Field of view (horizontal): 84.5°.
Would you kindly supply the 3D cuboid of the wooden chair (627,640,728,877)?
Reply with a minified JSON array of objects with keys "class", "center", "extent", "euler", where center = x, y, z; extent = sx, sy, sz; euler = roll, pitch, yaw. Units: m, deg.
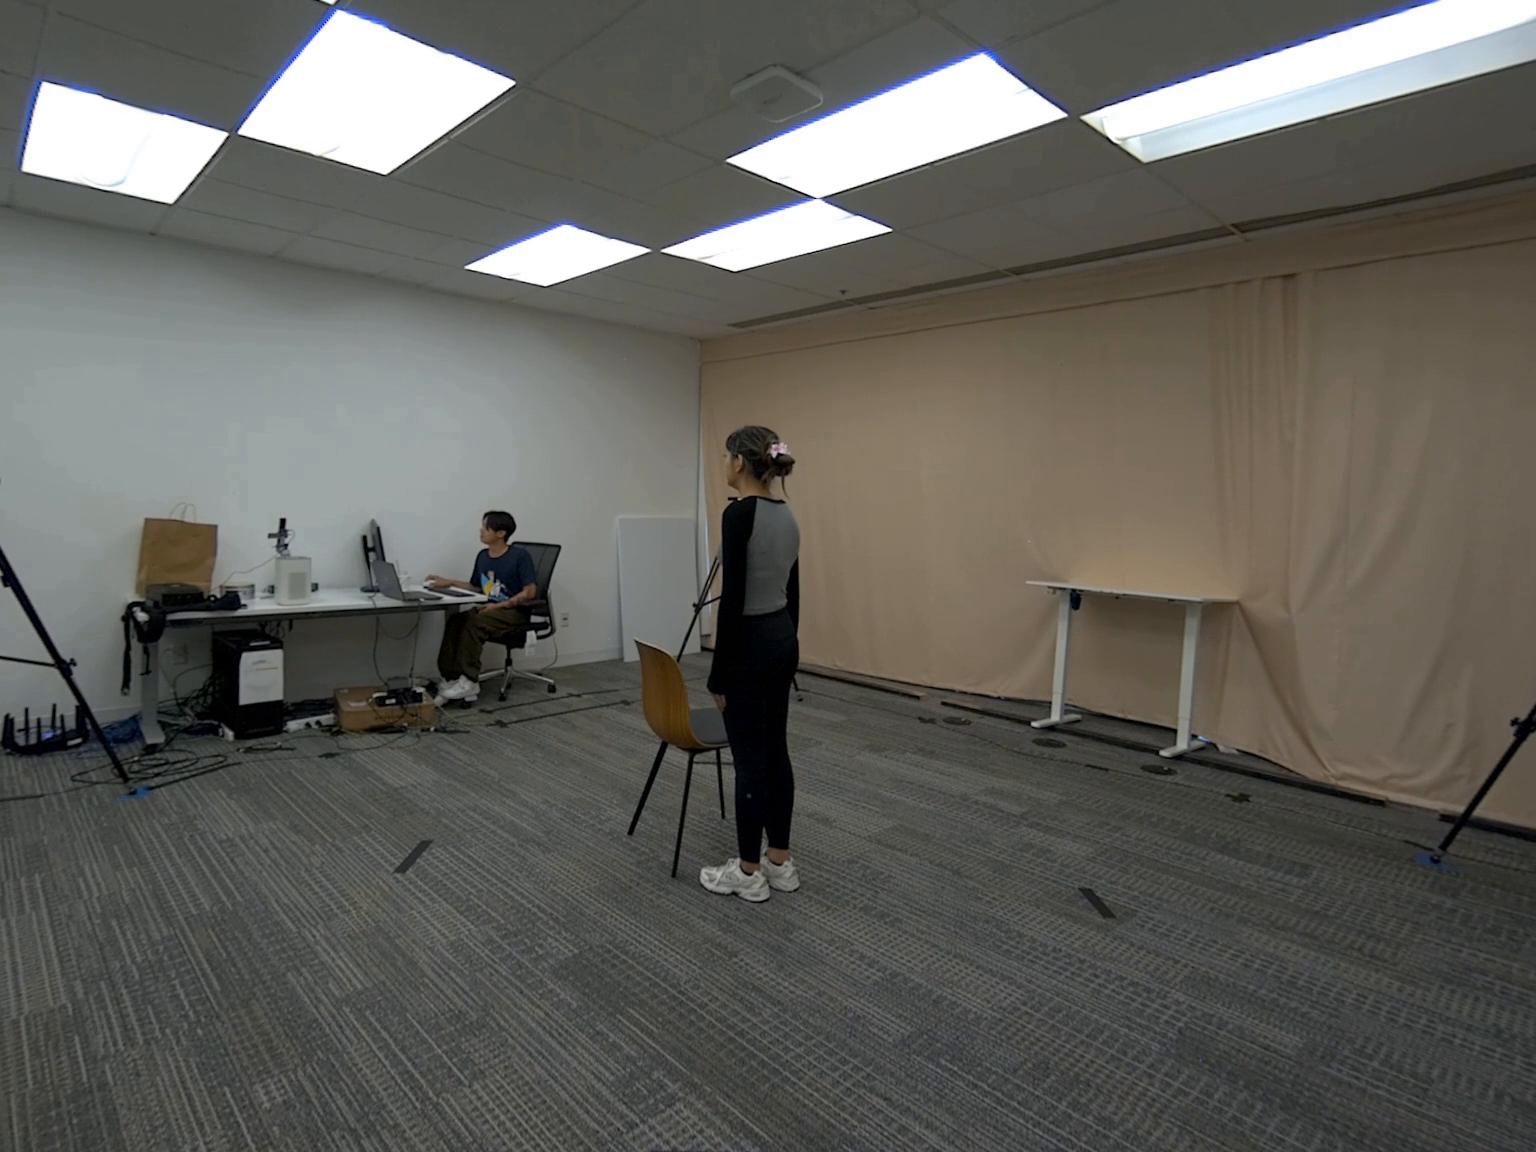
[{"class":"wooden chair","center":[-0.259,0.655,3.357],"extent":[0.513,0.874,0.489],"euler":[-5,6,-30]}]
